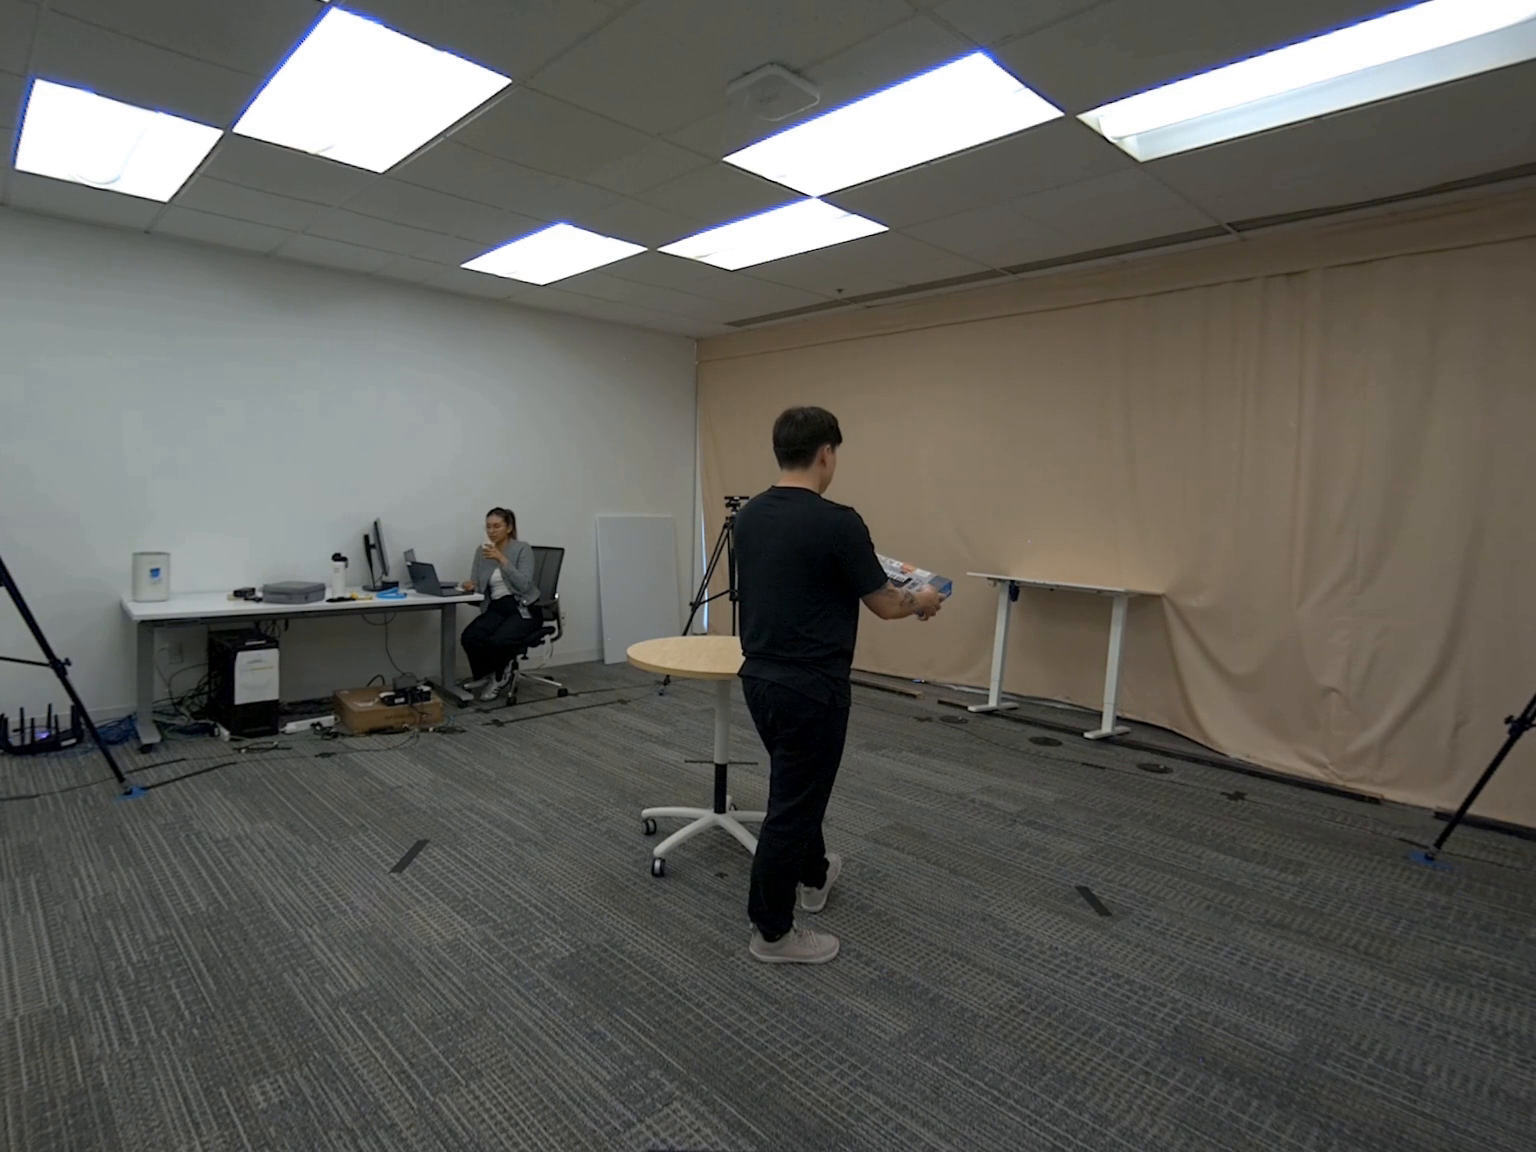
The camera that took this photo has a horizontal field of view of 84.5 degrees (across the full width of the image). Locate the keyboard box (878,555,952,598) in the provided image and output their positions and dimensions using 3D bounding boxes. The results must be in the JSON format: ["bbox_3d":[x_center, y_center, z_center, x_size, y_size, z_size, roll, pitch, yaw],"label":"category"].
[{"bbox_3d":[0.390,0.005,2.866,0.450,0.058,0.174,23,40,38],"label":"keyboard box"}]
